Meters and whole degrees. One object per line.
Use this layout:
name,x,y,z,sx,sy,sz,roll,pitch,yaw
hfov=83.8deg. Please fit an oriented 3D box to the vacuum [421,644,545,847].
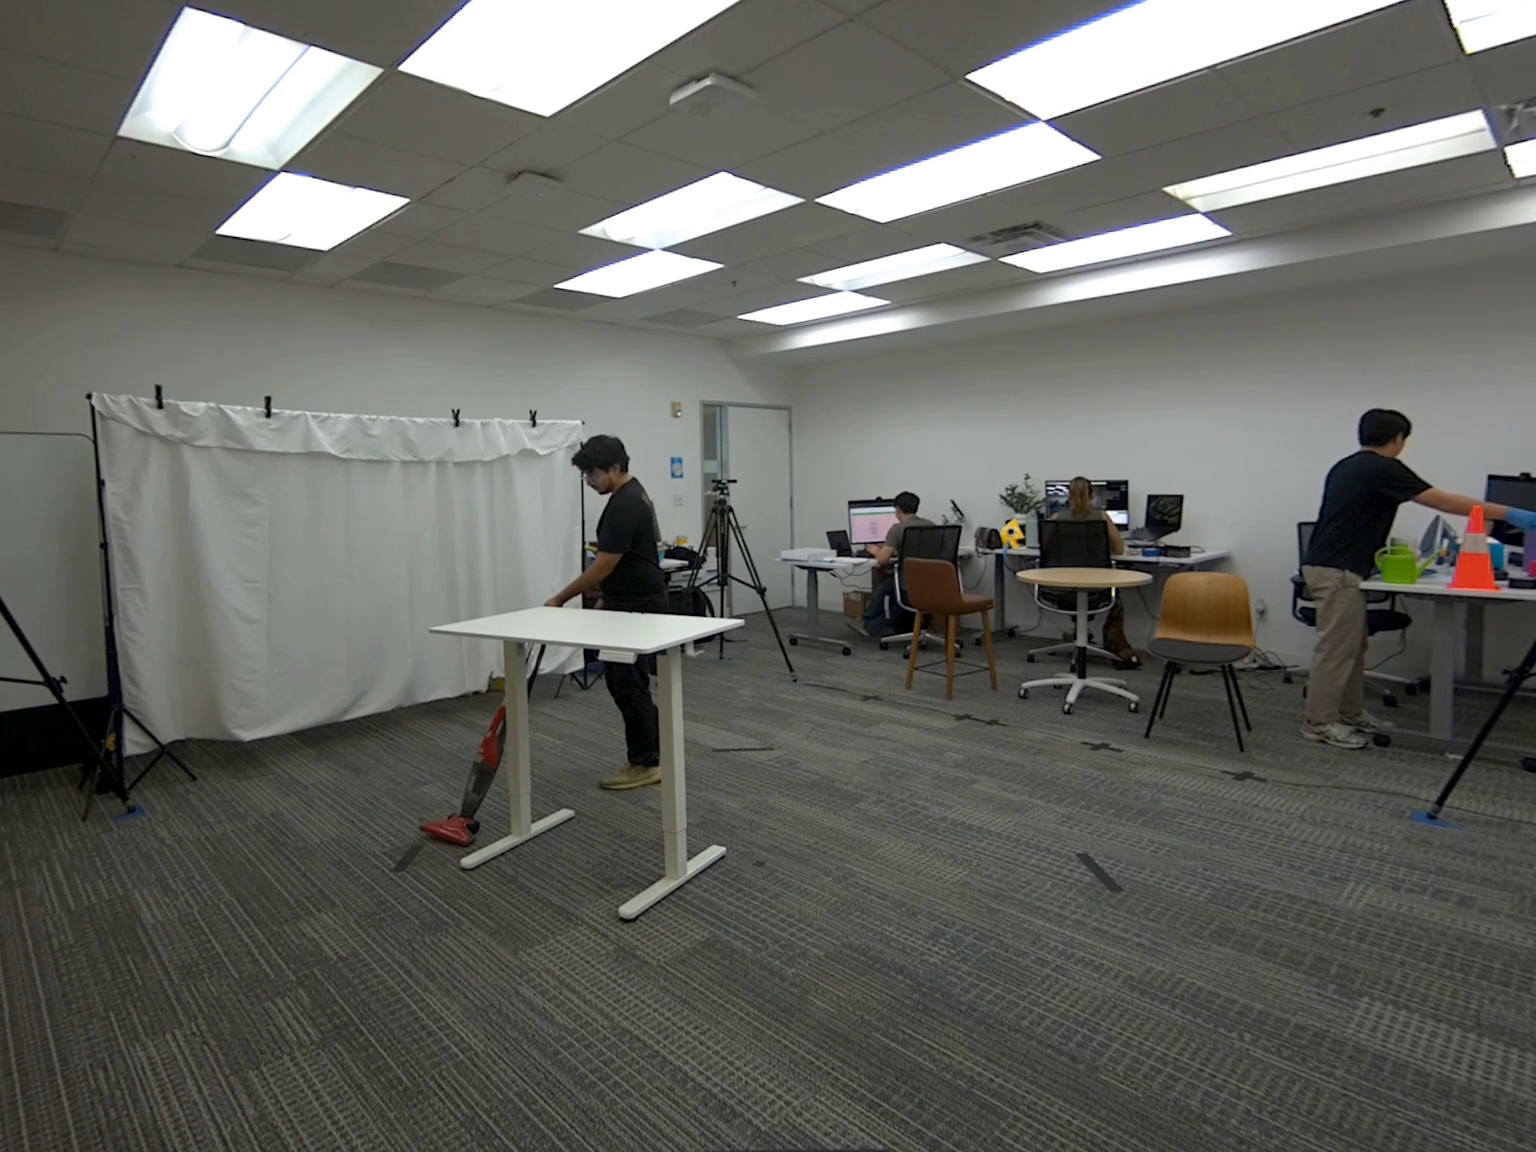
vacuum,-1.101,0.568,3.641,0.259,1.062,0.139,6,-29,24
